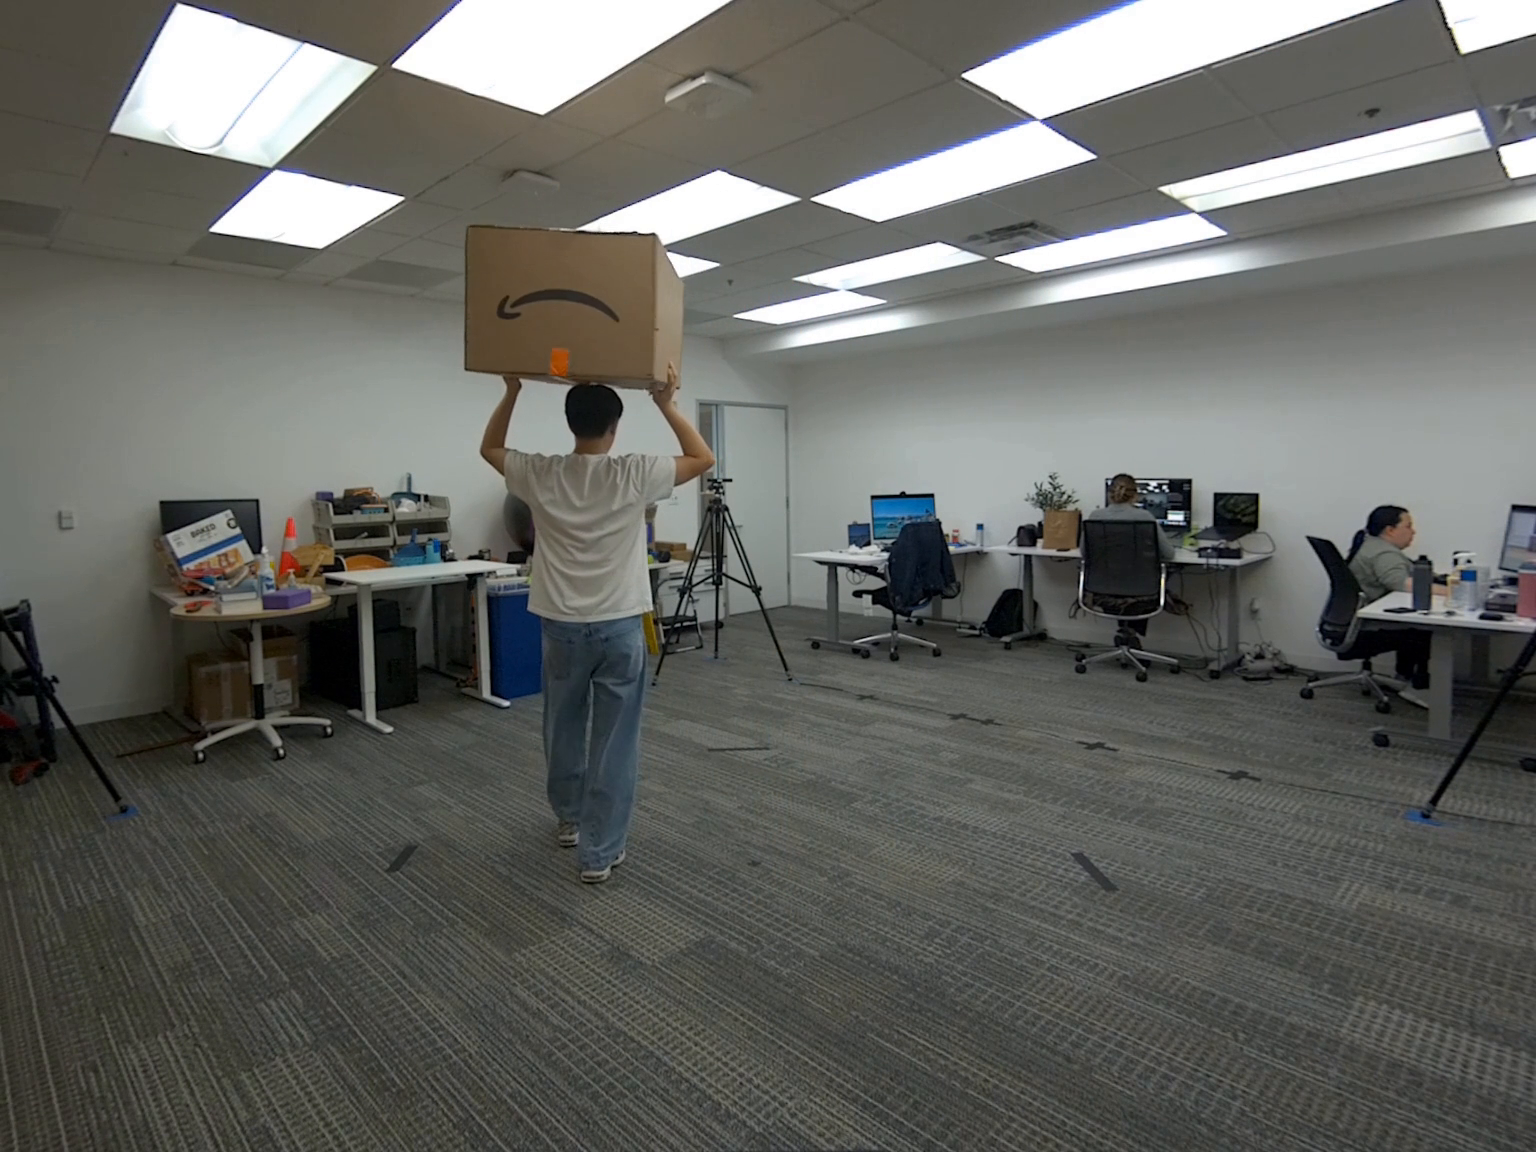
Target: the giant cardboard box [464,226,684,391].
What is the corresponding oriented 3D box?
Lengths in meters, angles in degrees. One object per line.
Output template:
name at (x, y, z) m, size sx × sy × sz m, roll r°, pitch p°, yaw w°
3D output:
giant cardboard box at (-0.628, -0.901, 3.036) m, size 0.578 × 0.423 × 1.034 m, roll 3°, pitch 11°, yaw 0°
